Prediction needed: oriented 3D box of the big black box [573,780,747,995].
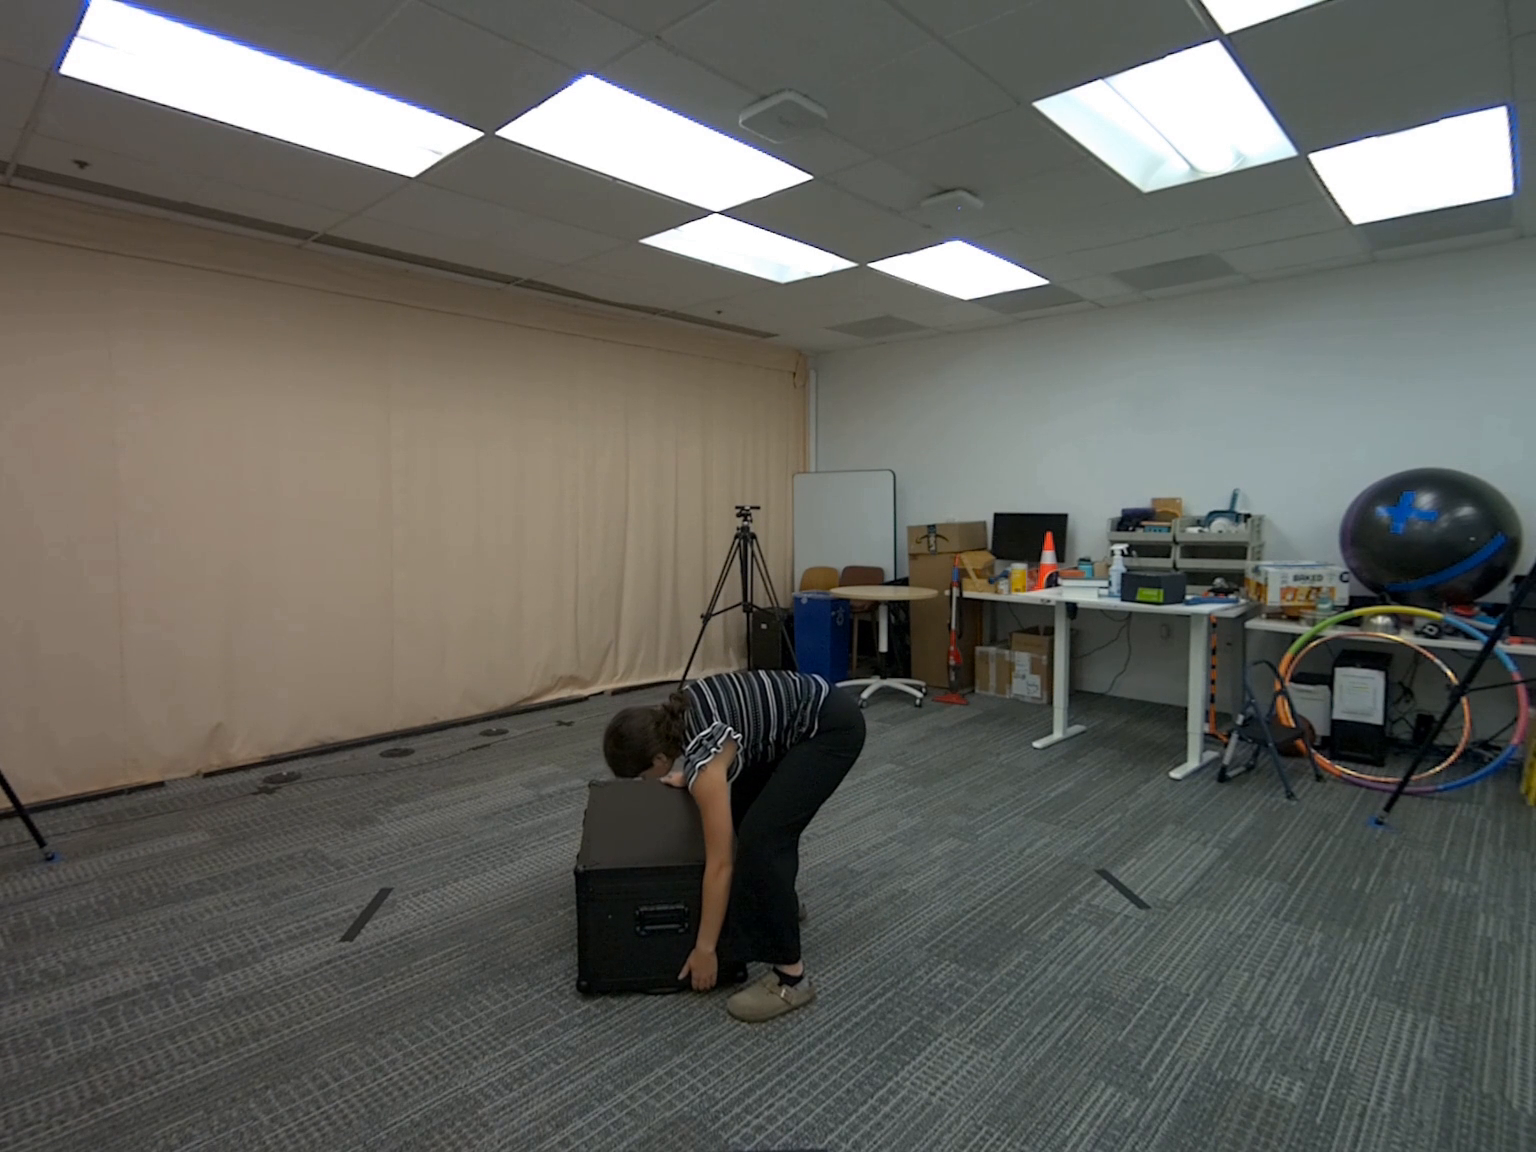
[{"bbox_3d":[-0.366,0.972,2.806,0.517,0.395,0.871,0,5,-9],"label":"big black box"}]
